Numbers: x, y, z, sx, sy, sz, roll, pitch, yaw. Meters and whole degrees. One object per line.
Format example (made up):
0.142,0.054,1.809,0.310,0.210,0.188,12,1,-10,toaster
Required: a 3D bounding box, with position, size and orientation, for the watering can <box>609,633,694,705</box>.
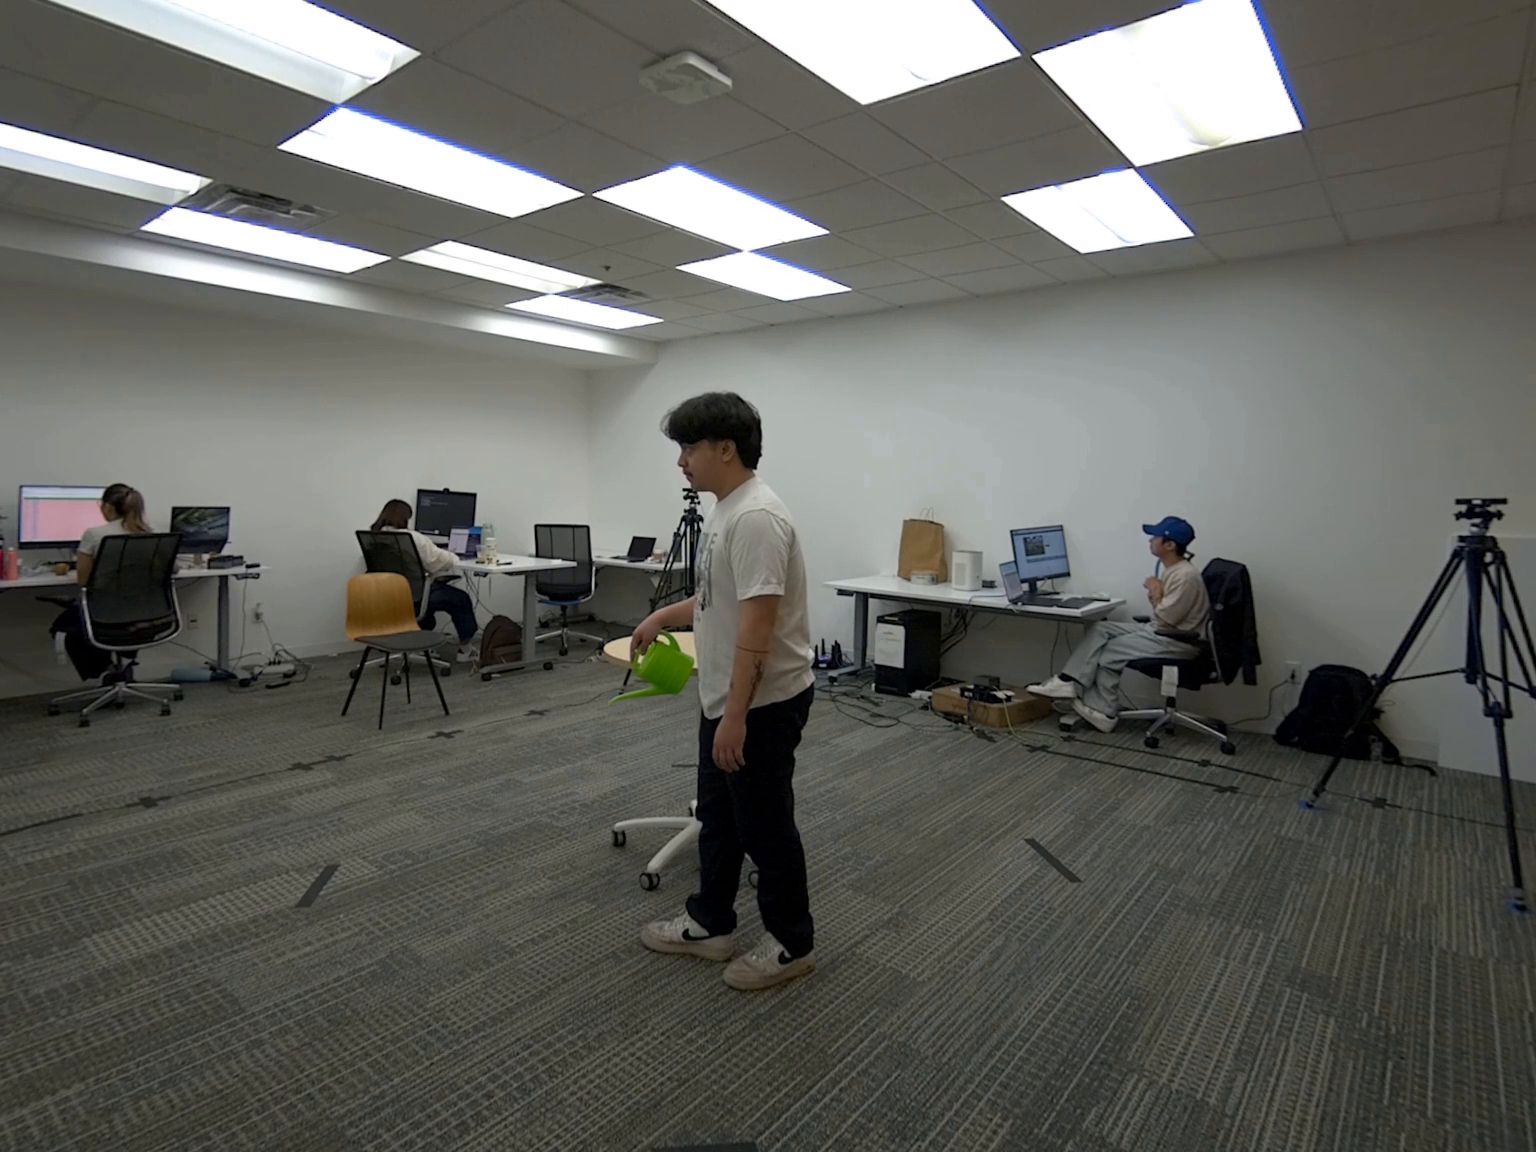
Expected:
-0.361,0.309,2.621,0.174,0.278,0.099,29,3,-10,watering can
